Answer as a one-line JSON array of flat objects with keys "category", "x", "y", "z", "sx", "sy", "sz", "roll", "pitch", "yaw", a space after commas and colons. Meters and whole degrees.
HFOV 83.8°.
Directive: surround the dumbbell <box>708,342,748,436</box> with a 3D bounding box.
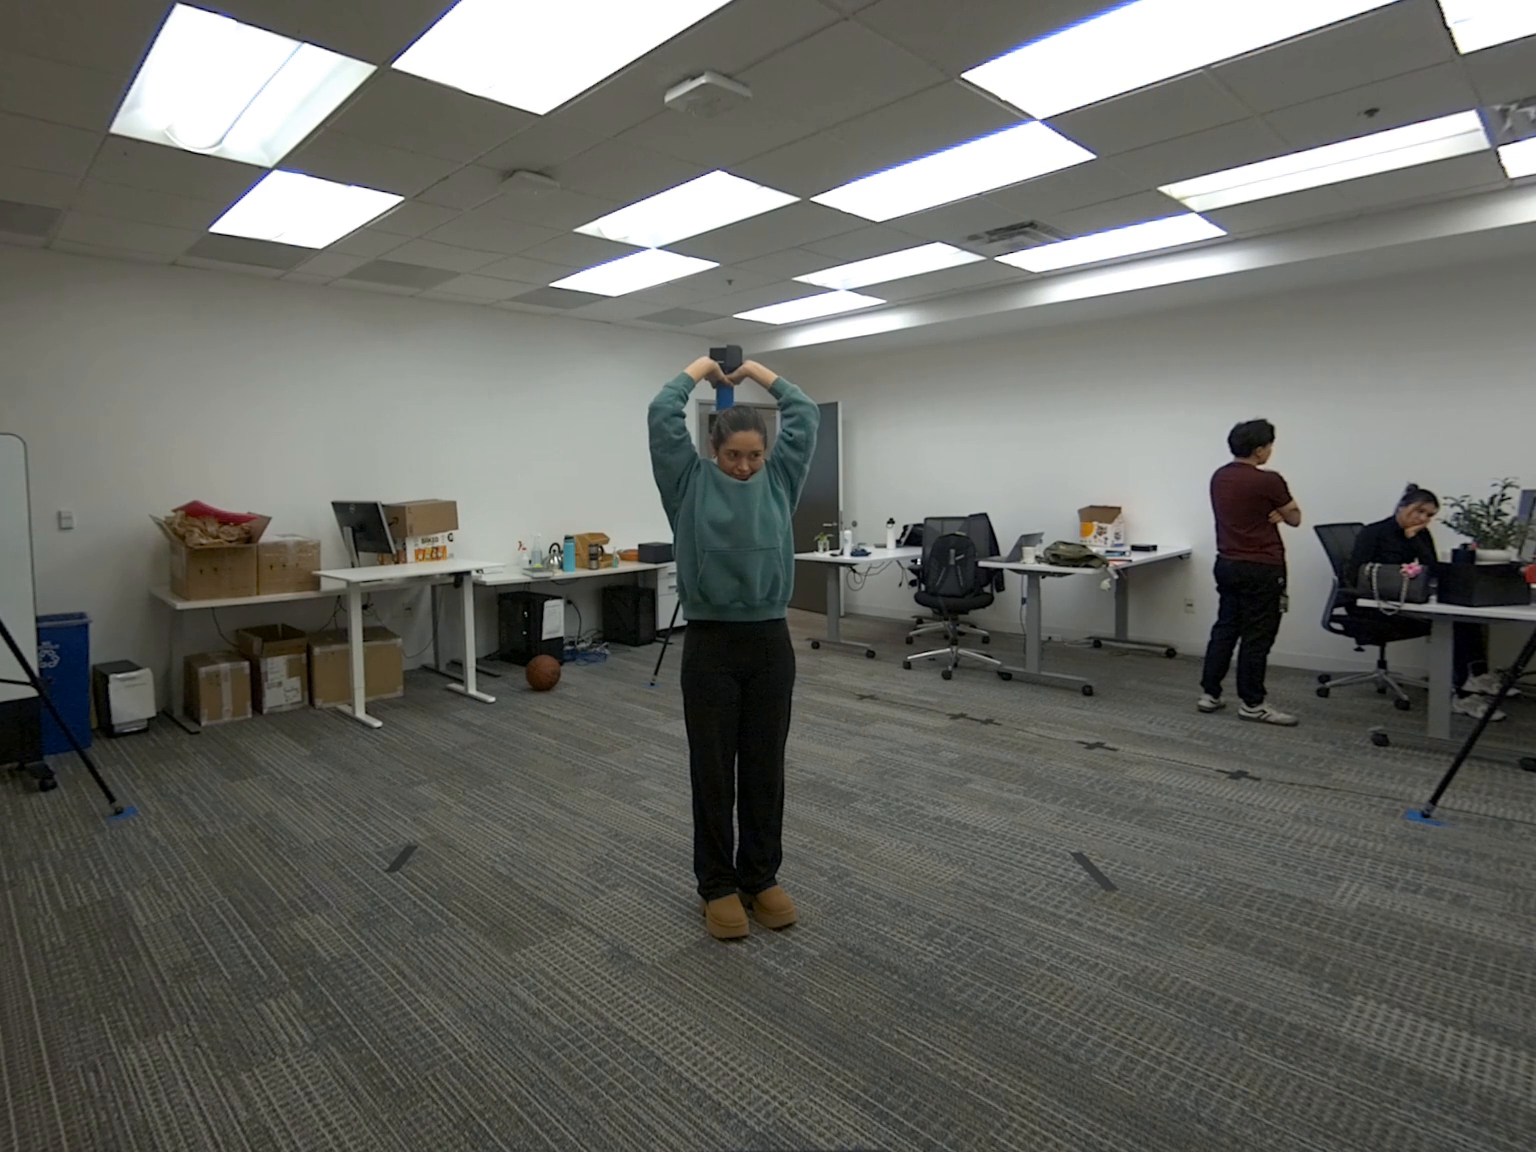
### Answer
[{"category": "dumbbell", "x": -0.134, "y": -0.613, "z": 2.806, "sx": 0.108, "sy": 0.291, "sz": 0.125, "roll": 0, "pitch": 11, "yaw": -9}]
